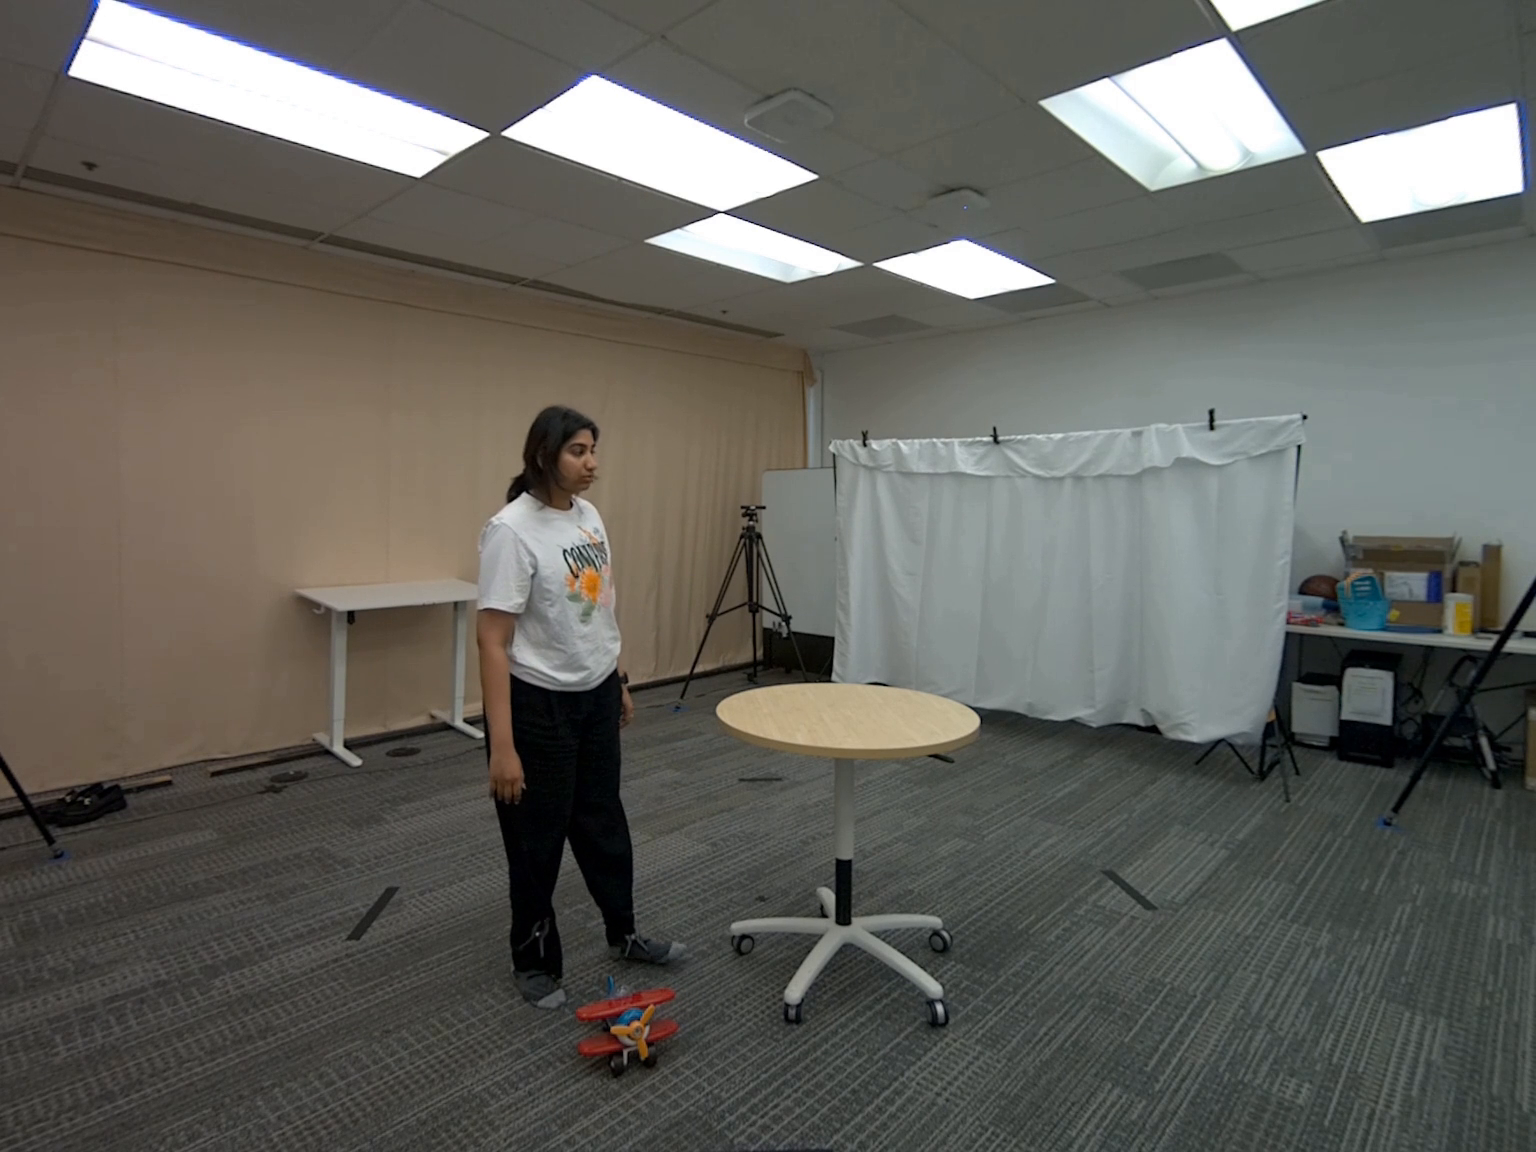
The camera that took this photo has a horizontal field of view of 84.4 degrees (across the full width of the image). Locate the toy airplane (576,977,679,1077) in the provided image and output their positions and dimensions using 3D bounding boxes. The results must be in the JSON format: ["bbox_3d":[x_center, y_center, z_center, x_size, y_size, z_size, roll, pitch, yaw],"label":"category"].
[{"bbox_3d":[-0.384,1.146,2.139,0.268,0.156,0.244,4,6,38],"label":"toy airplane"}]
